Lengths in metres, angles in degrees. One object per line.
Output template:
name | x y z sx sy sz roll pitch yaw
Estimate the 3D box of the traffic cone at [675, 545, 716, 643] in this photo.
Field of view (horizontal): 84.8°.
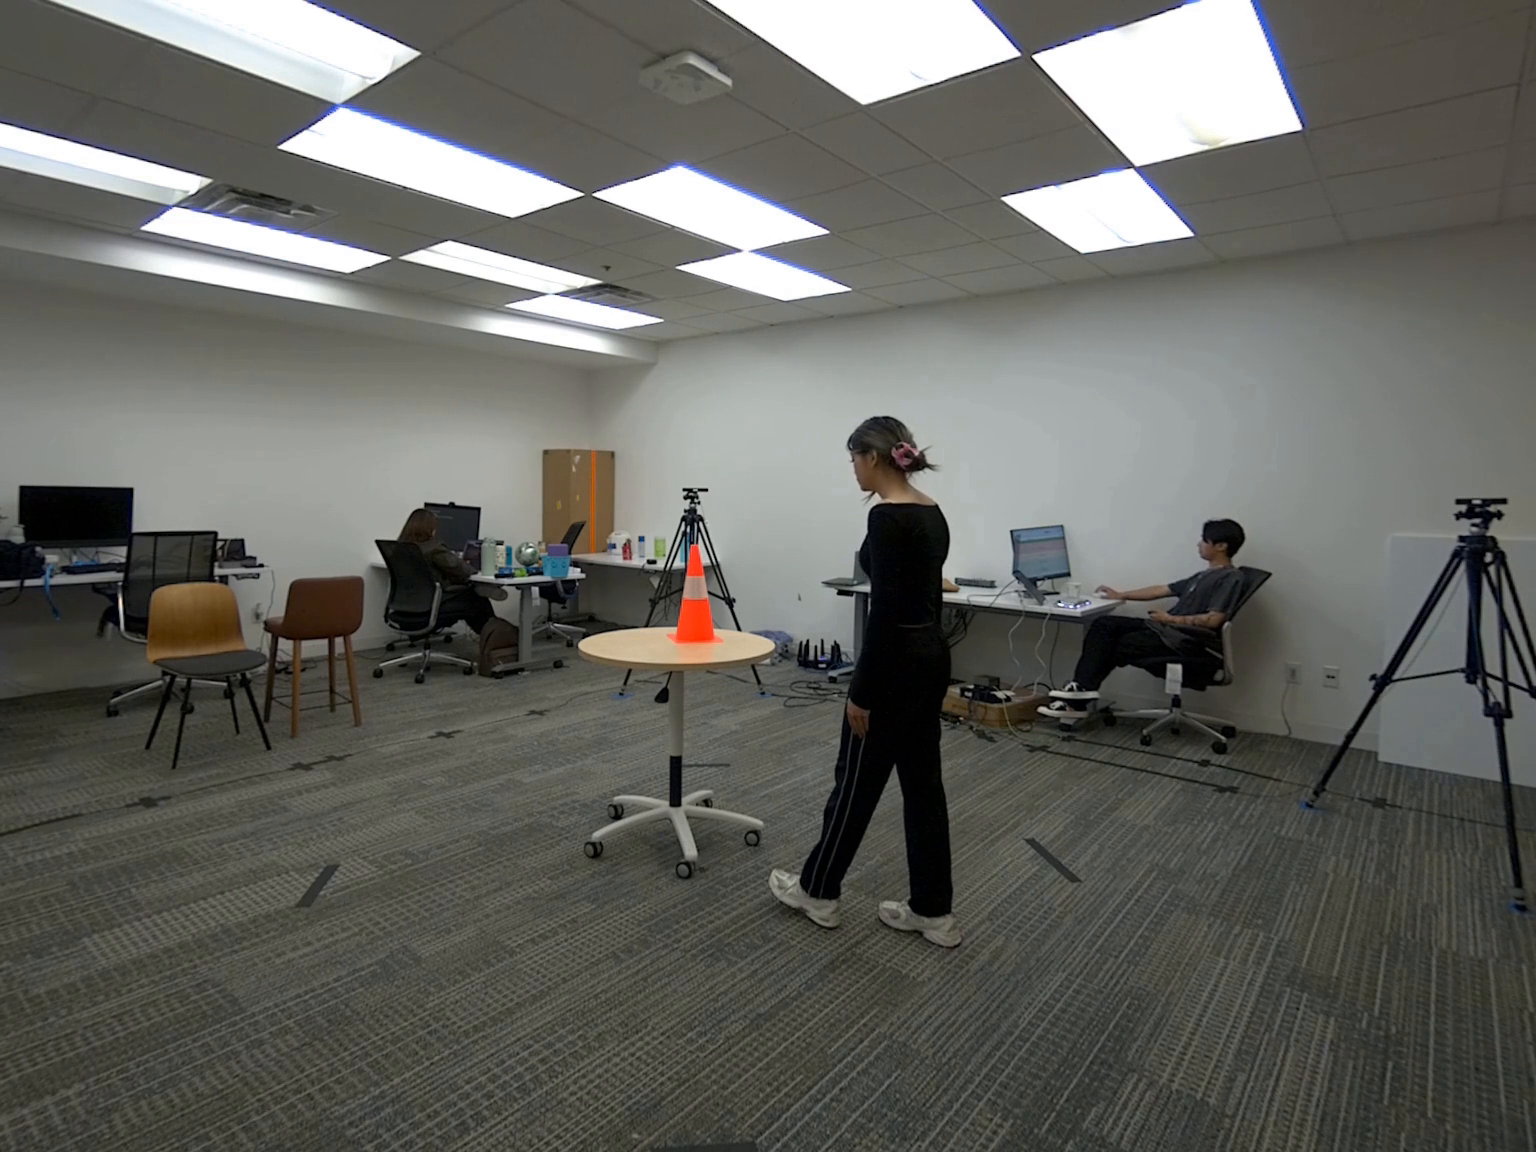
traffic cone | -0.312 0.063 3.431 0.201 0.382 0.208 -1 4 -20
